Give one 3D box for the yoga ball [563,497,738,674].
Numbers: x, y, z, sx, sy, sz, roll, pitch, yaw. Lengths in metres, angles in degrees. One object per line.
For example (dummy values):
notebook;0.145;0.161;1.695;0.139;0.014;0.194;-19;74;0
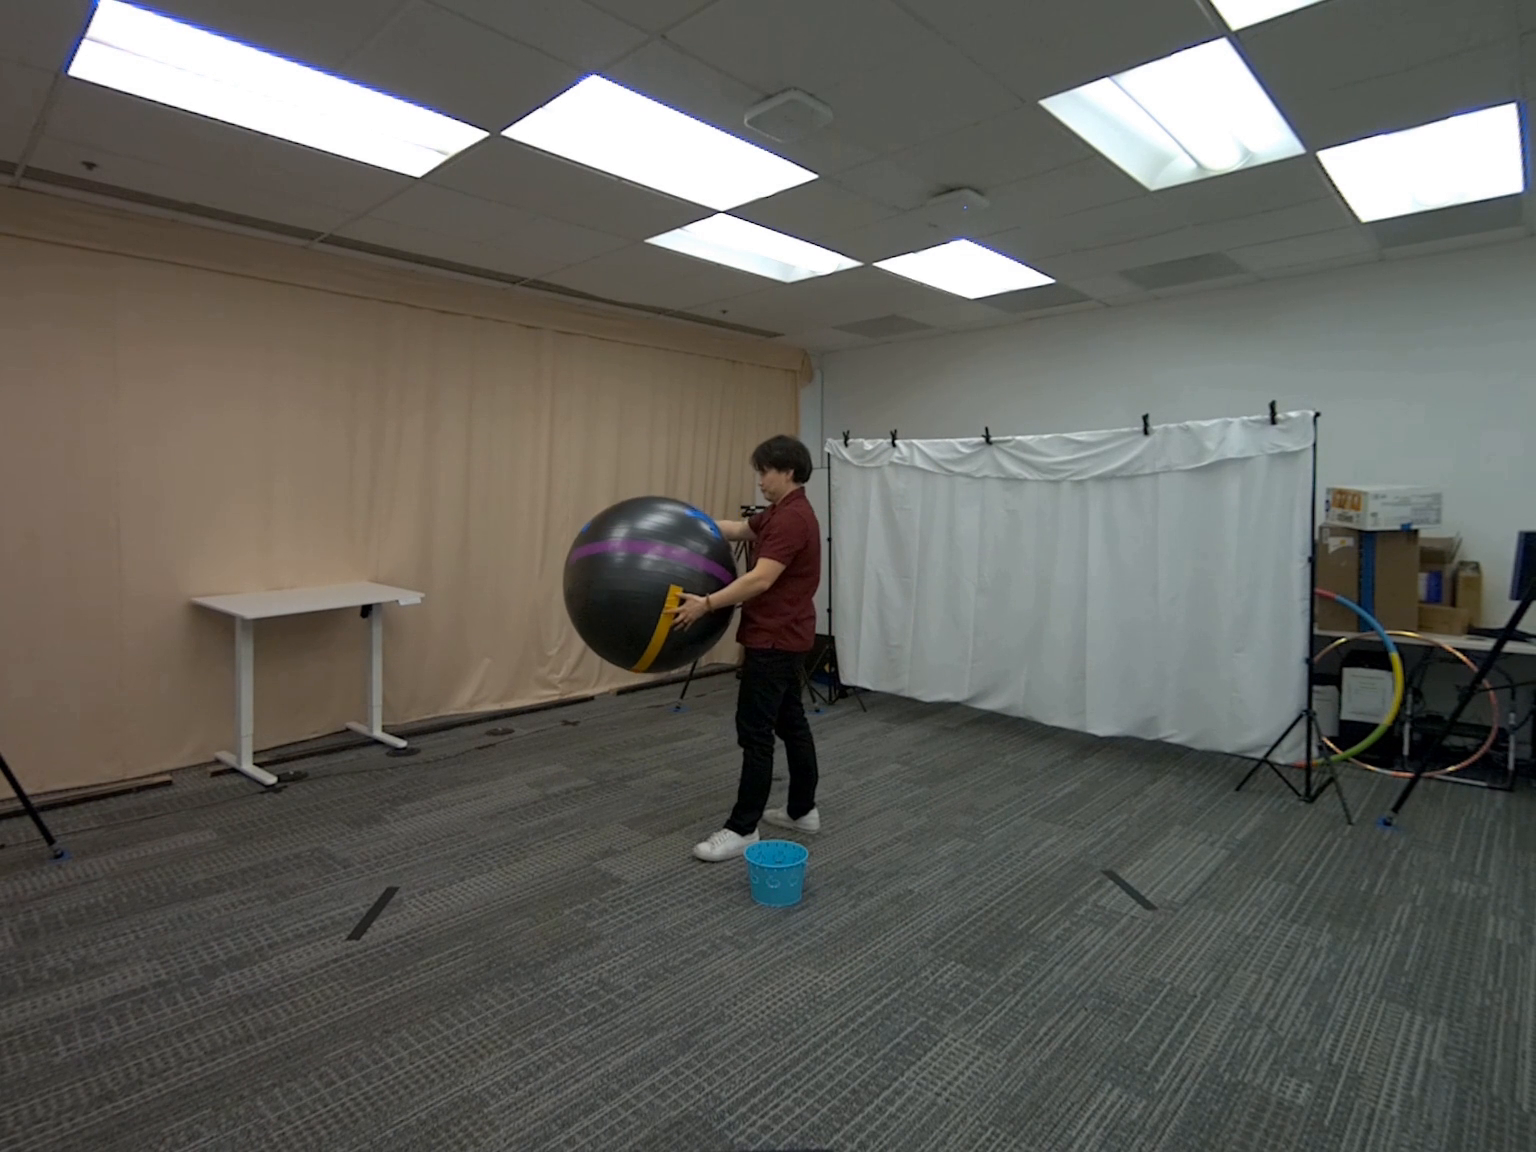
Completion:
yoga ball;-0.506;0.035;3.657;0.757;0.756;0.761;0;4;-2
